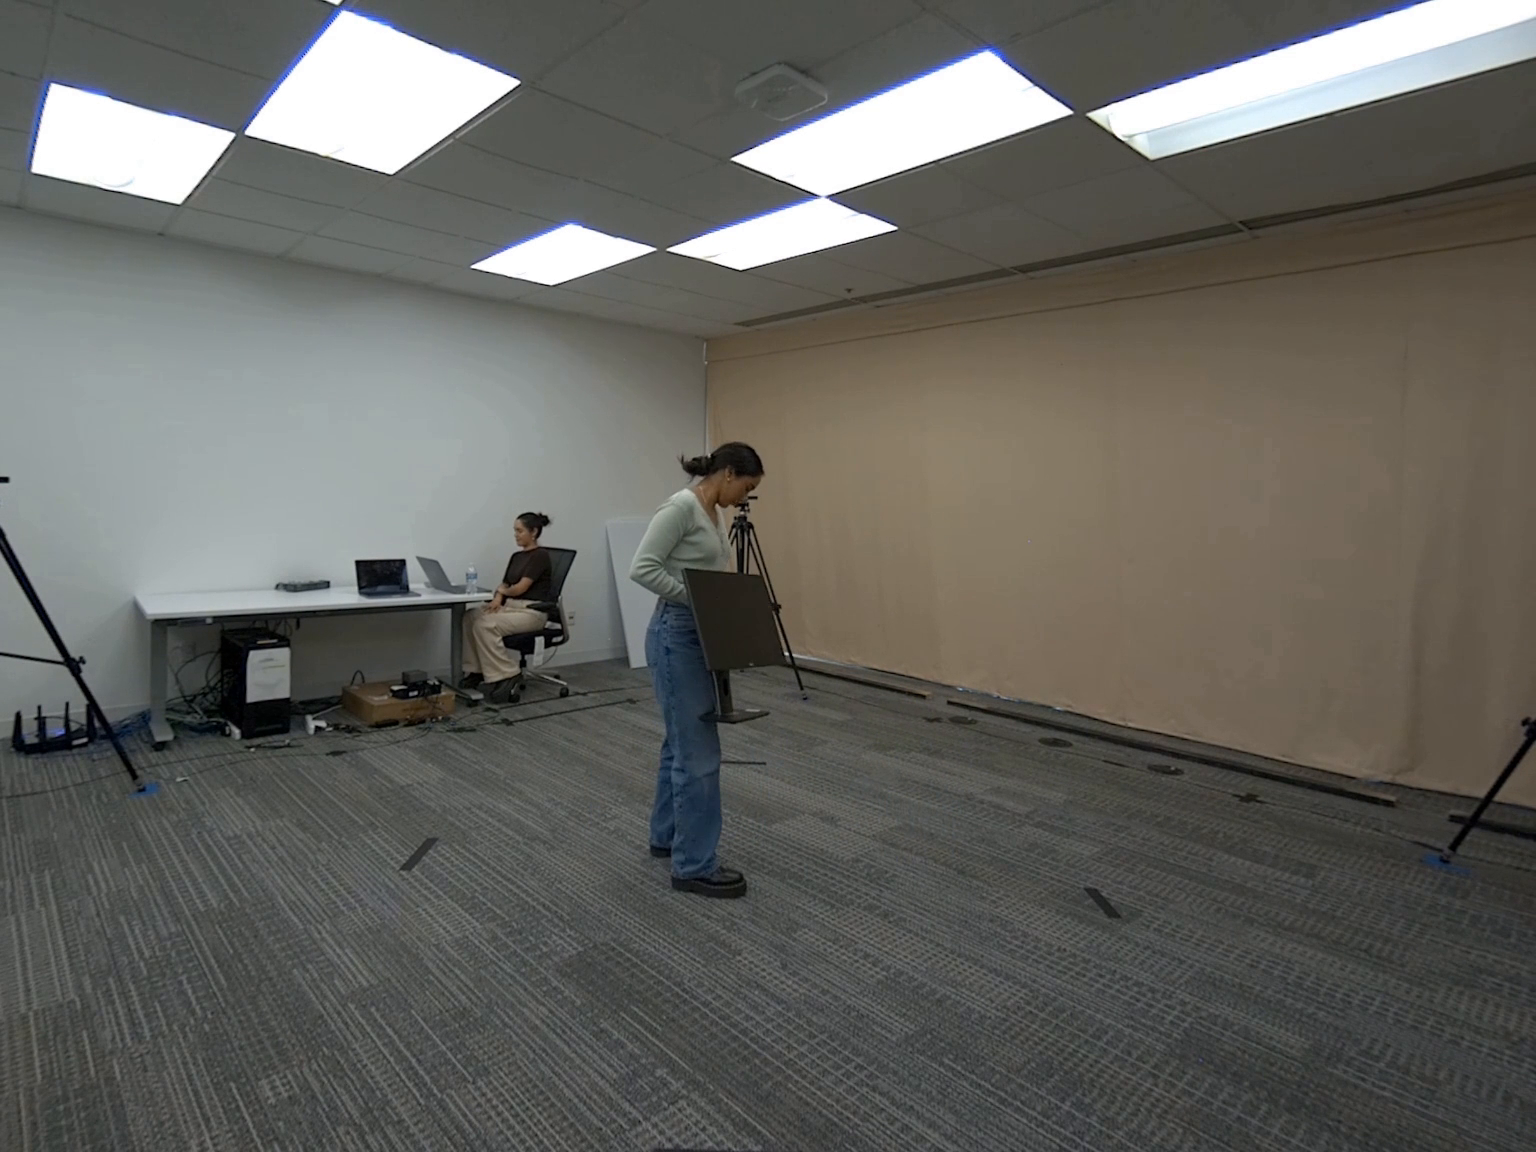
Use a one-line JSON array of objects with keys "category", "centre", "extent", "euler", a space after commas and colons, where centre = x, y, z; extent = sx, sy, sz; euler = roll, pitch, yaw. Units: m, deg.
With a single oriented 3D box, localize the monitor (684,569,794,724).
[{"category": "monitor", "centre": [-0.140, 0.234, 2.970], "extent": [0.178, 0.517, 0.518], "euler": [5, -2, 27]}]
